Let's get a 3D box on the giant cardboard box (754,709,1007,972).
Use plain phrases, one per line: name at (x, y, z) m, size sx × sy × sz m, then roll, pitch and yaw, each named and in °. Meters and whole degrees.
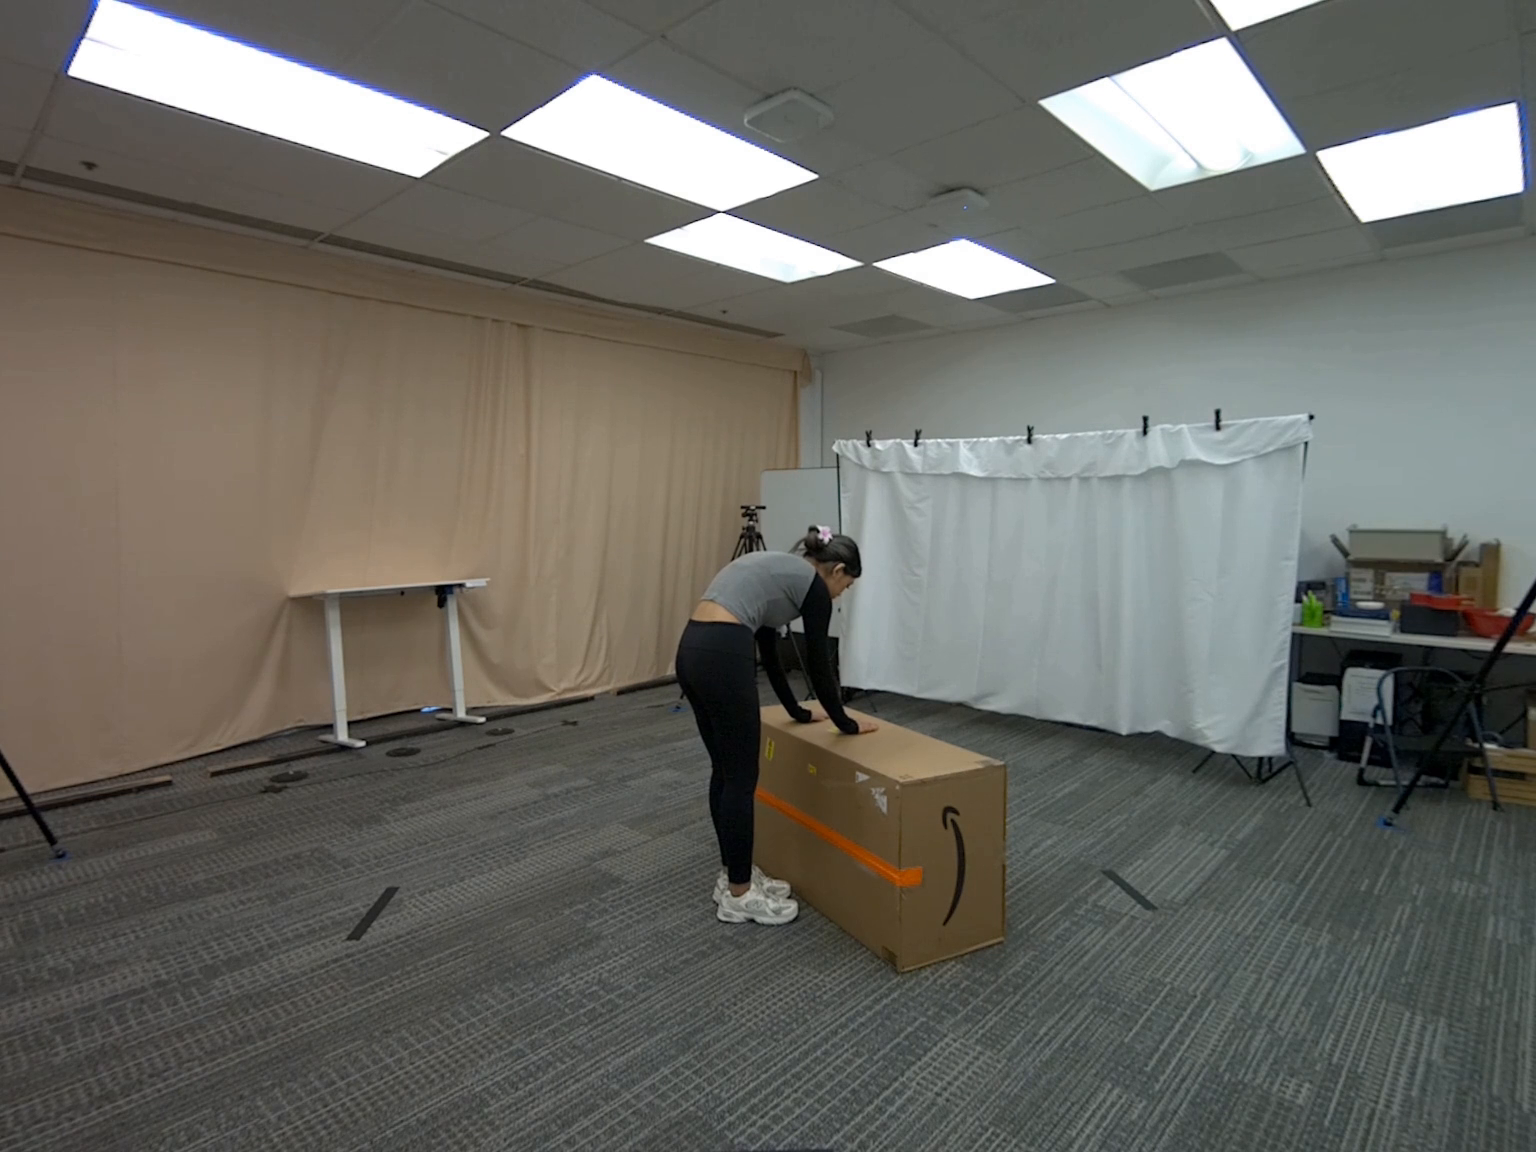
giant cardboard box at (0.321, 0.851, 3.033) m, size 0.415 × 0.576 × 1.055 m, roll -2°, pitch 4°, yaw -29°
